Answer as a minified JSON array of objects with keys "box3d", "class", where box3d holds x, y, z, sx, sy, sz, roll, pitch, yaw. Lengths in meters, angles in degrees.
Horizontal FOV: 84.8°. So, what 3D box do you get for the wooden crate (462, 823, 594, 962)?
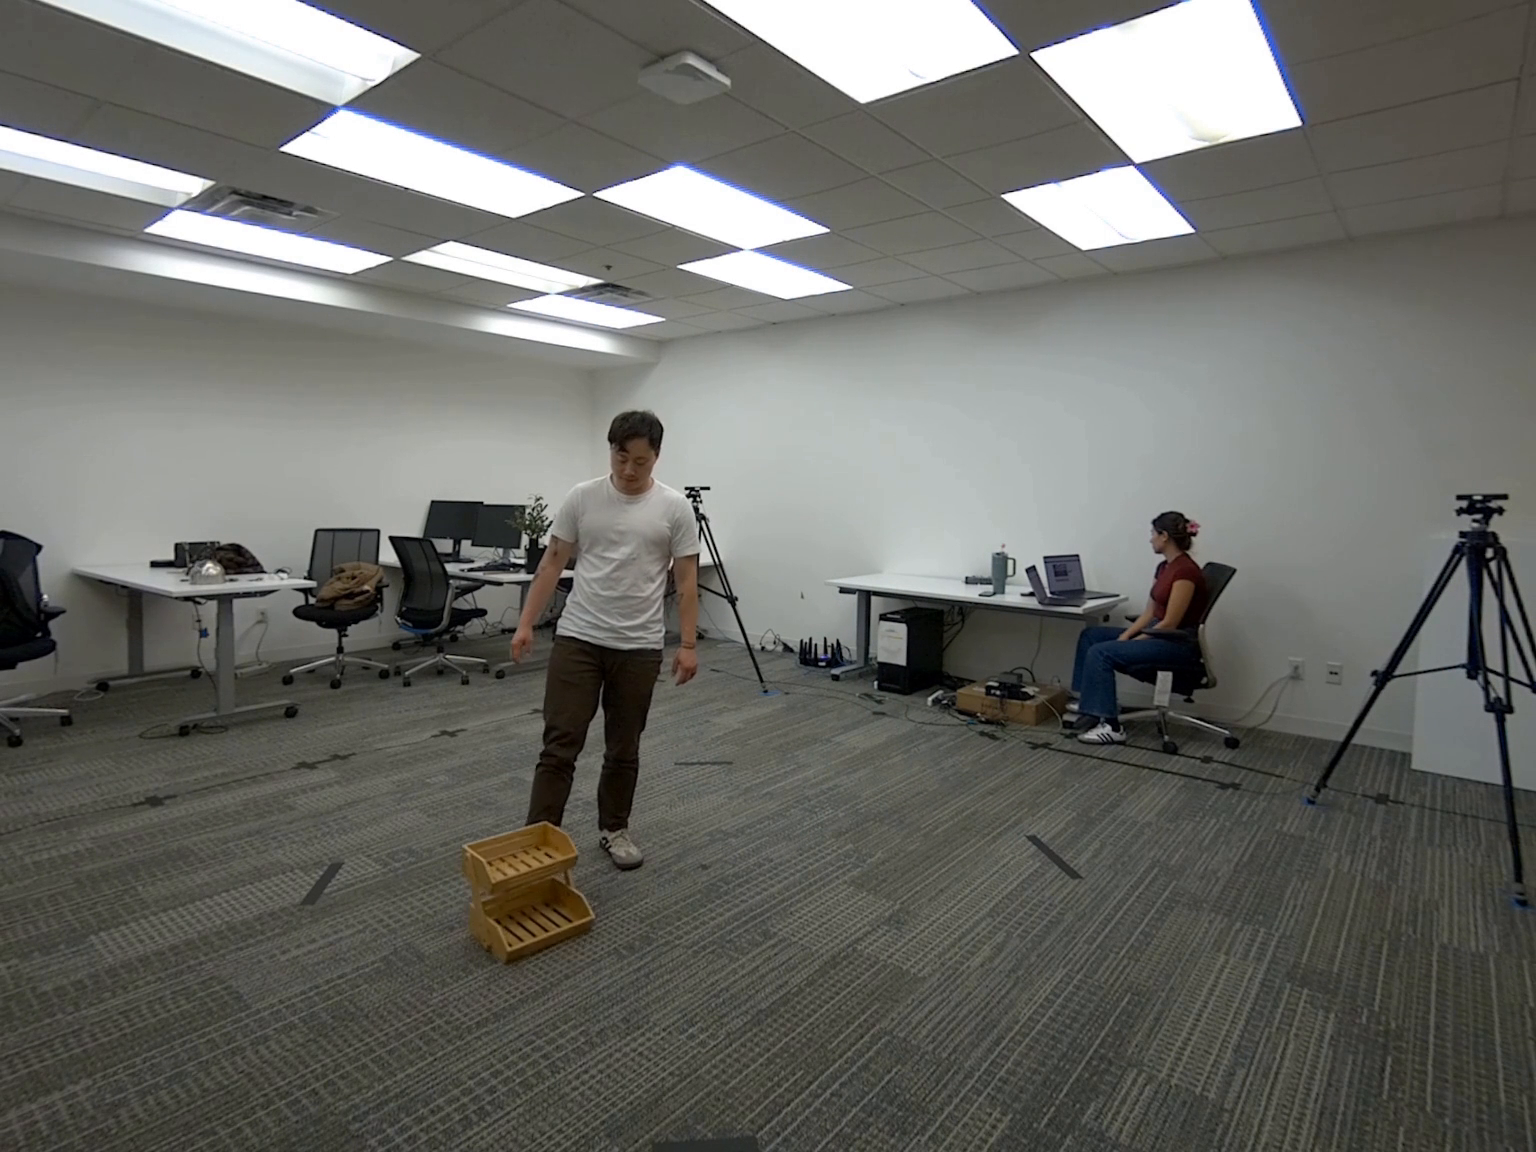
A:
[{"box3d":[-0.758,0.969,2.663,0.315,0.272,0.312,-4,6,-43],"class":"wooden crate"}]
